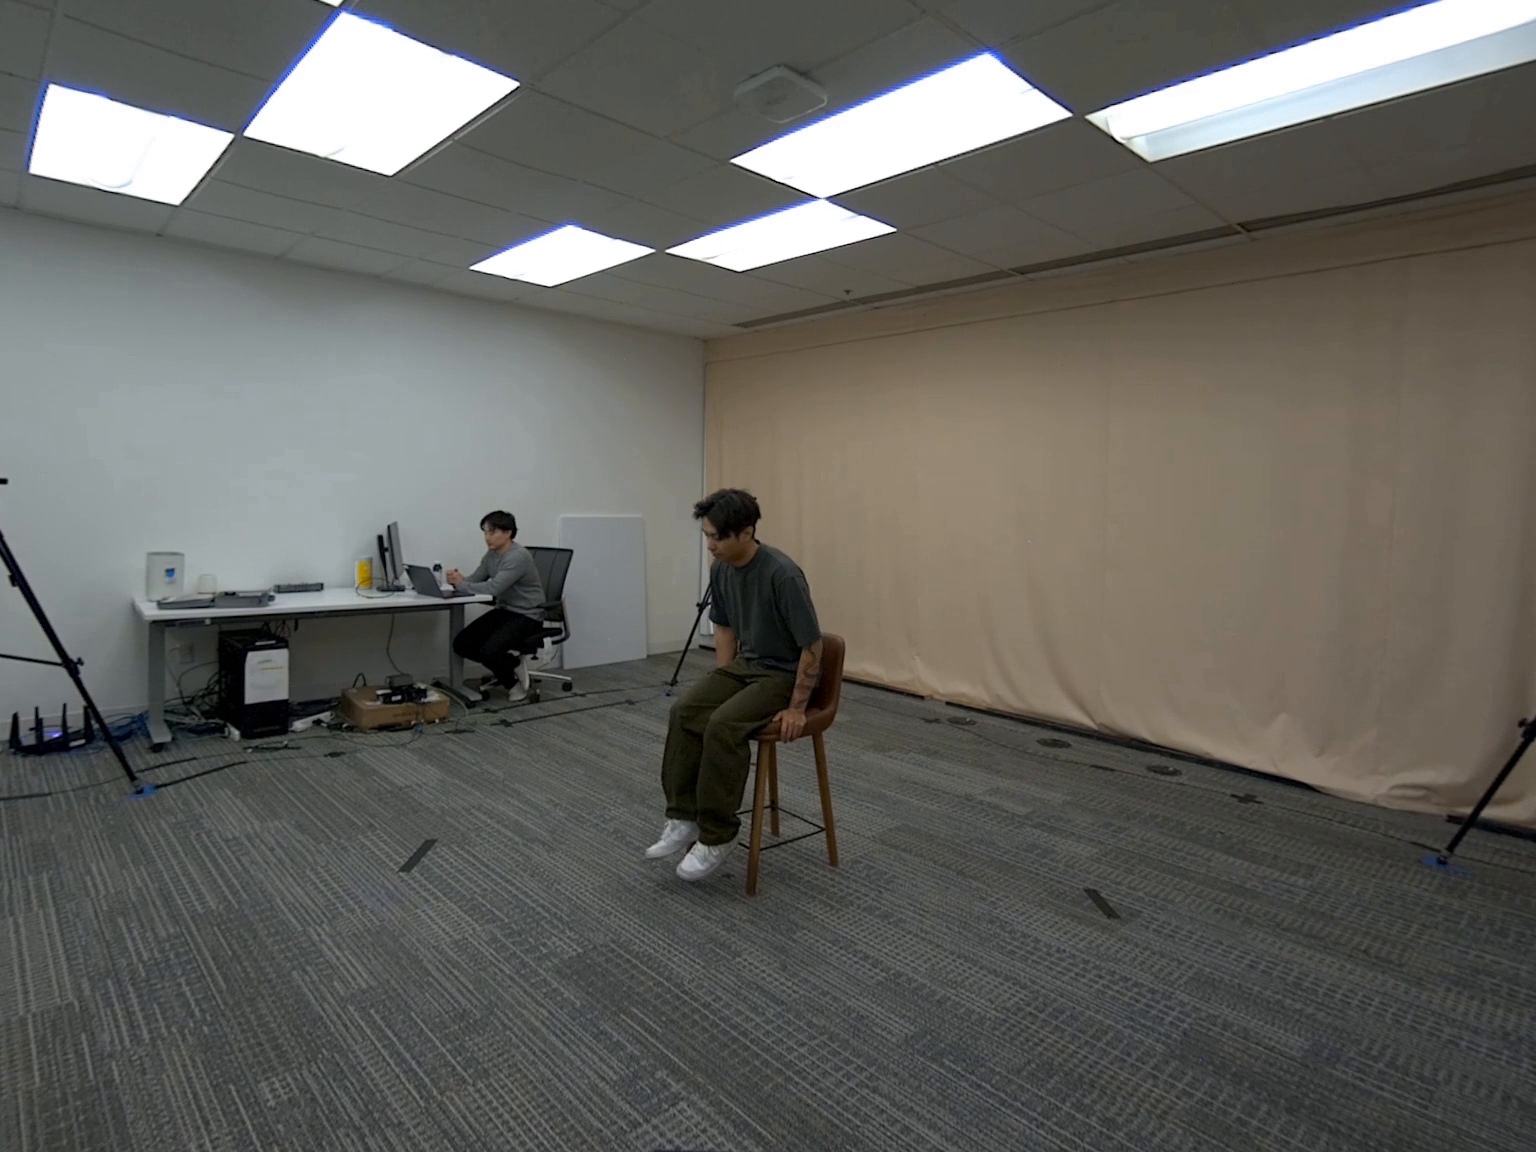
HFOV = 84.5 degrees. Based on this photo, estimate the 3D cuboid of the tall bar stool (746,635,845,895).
[{"bbox_3d":[-0.002,0.664,3.223,0.456,0.889,0.468,2,2,-39],"label":"tall bar stool"}]
